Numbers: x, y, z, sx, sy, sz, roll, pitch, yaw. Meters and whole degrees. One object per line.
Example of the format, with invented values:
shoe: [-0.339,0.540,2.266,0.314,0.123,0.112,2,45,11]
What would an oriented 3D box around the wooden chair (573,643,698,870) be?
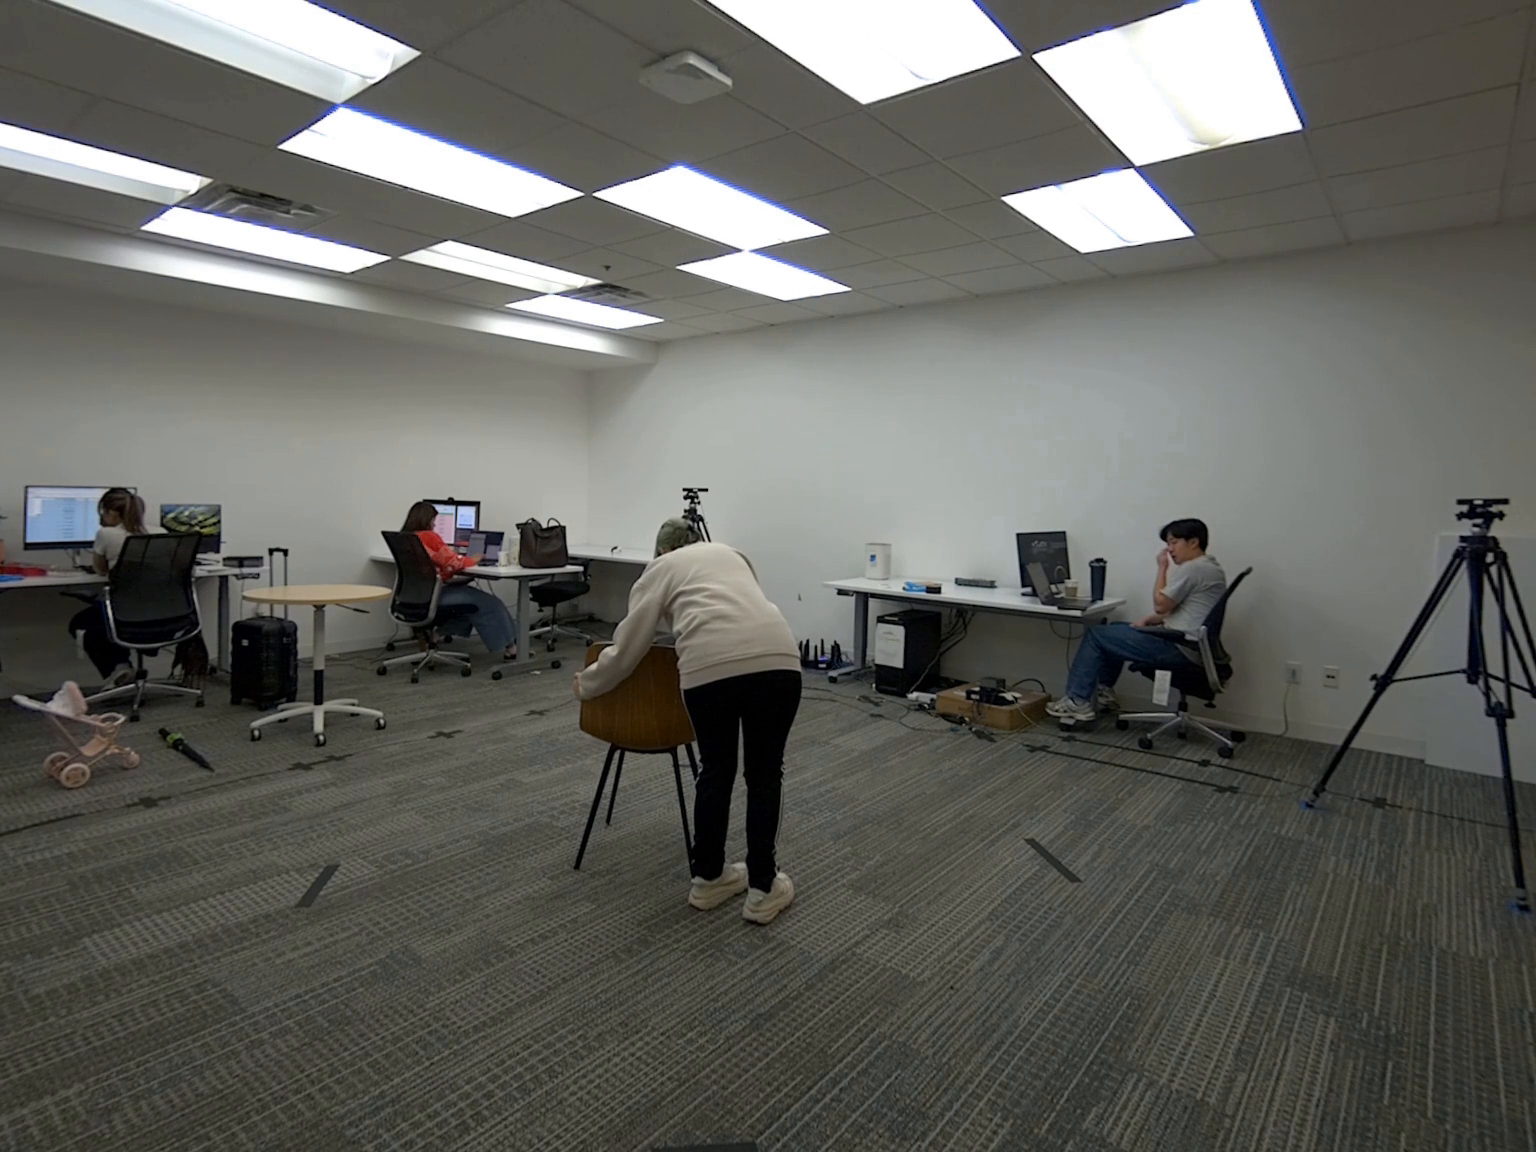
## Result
wooden chair: [-0.469,0.621,3.257,0.482,0.872,0.522,1,7,7]
